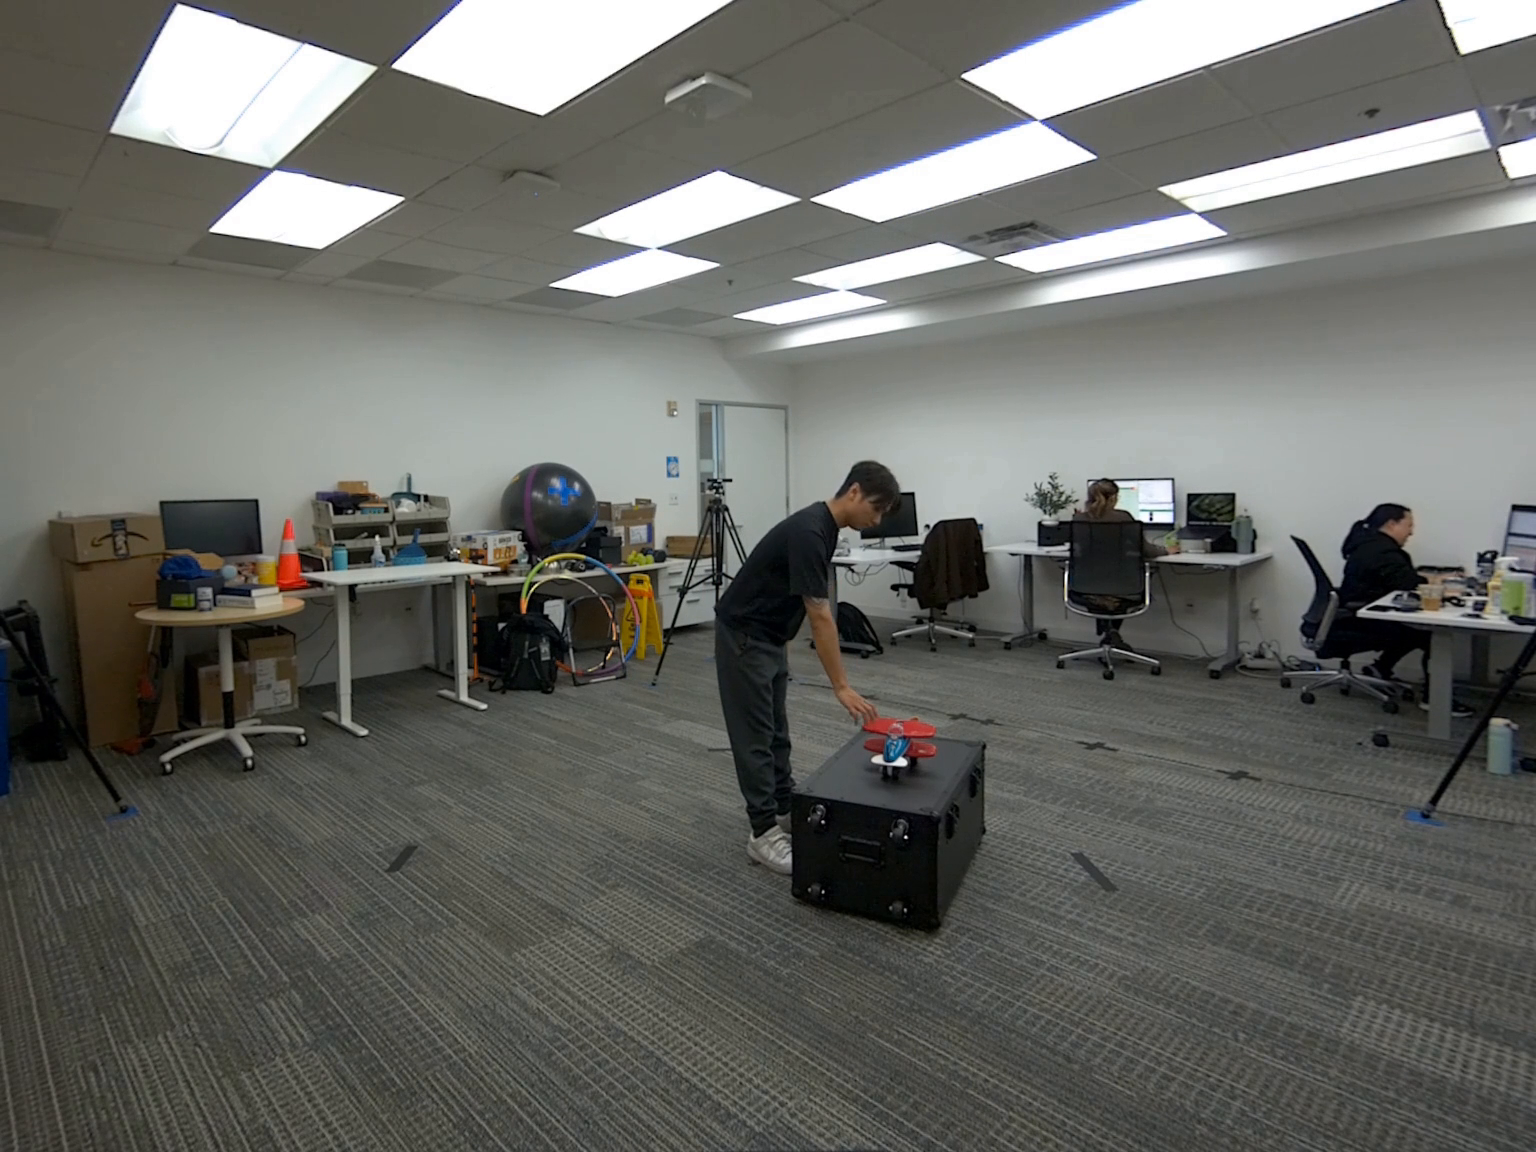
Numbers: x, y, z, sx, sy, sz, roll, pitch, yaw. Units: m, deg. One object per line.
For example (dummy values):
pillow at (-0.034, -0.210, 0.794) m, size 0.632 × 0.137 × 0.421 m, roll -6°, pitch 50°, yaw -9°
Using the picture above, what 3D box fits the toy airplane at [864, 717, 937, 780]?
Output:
toy airplane at (0.469, 0.598, 2.987) m, size 0.250 × 0.156 × 0.261 m, roll -2°, pitch 5°, yaw -5°
